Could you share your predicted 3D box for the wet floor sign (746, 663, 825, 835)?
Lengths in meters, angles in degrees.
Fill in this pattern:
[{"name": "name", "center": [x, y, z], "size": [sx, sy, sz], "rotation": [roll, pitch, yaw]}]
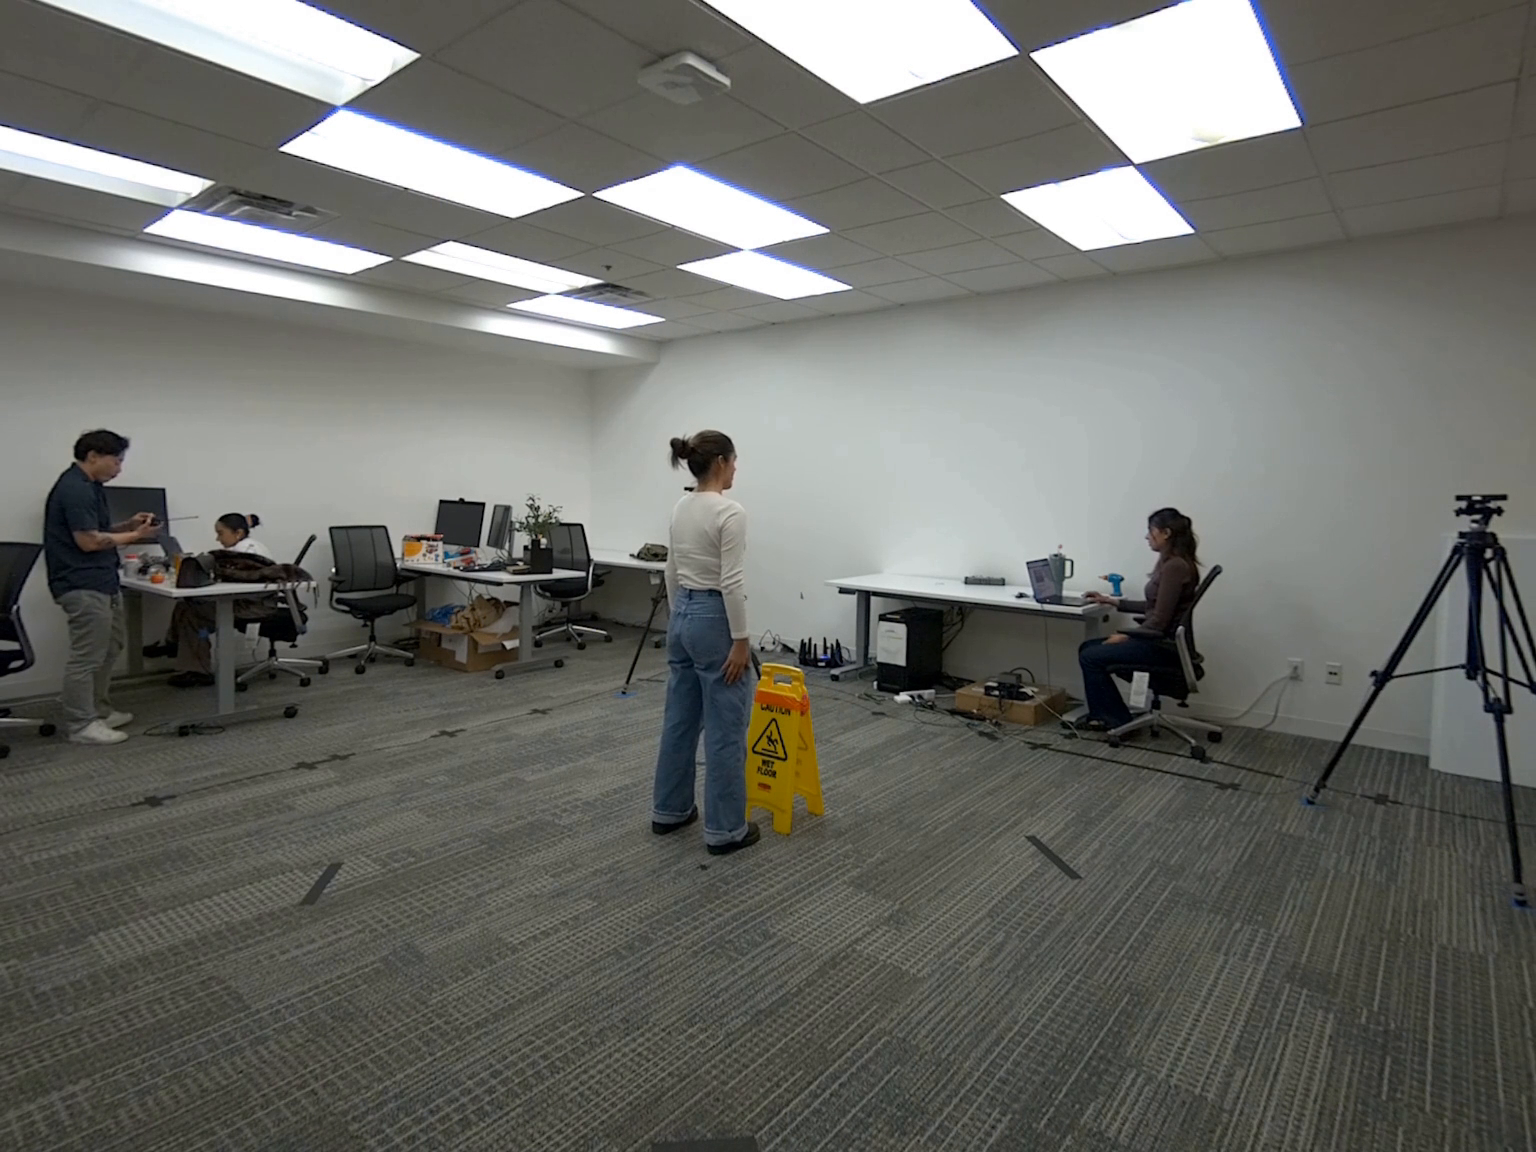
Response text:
[{"name": "wet floor sign", "center": [0.043, 0.699, 3.595], "size": [0.291, 0.644, 0.281], "rotation": [2, 3, 35]}]
